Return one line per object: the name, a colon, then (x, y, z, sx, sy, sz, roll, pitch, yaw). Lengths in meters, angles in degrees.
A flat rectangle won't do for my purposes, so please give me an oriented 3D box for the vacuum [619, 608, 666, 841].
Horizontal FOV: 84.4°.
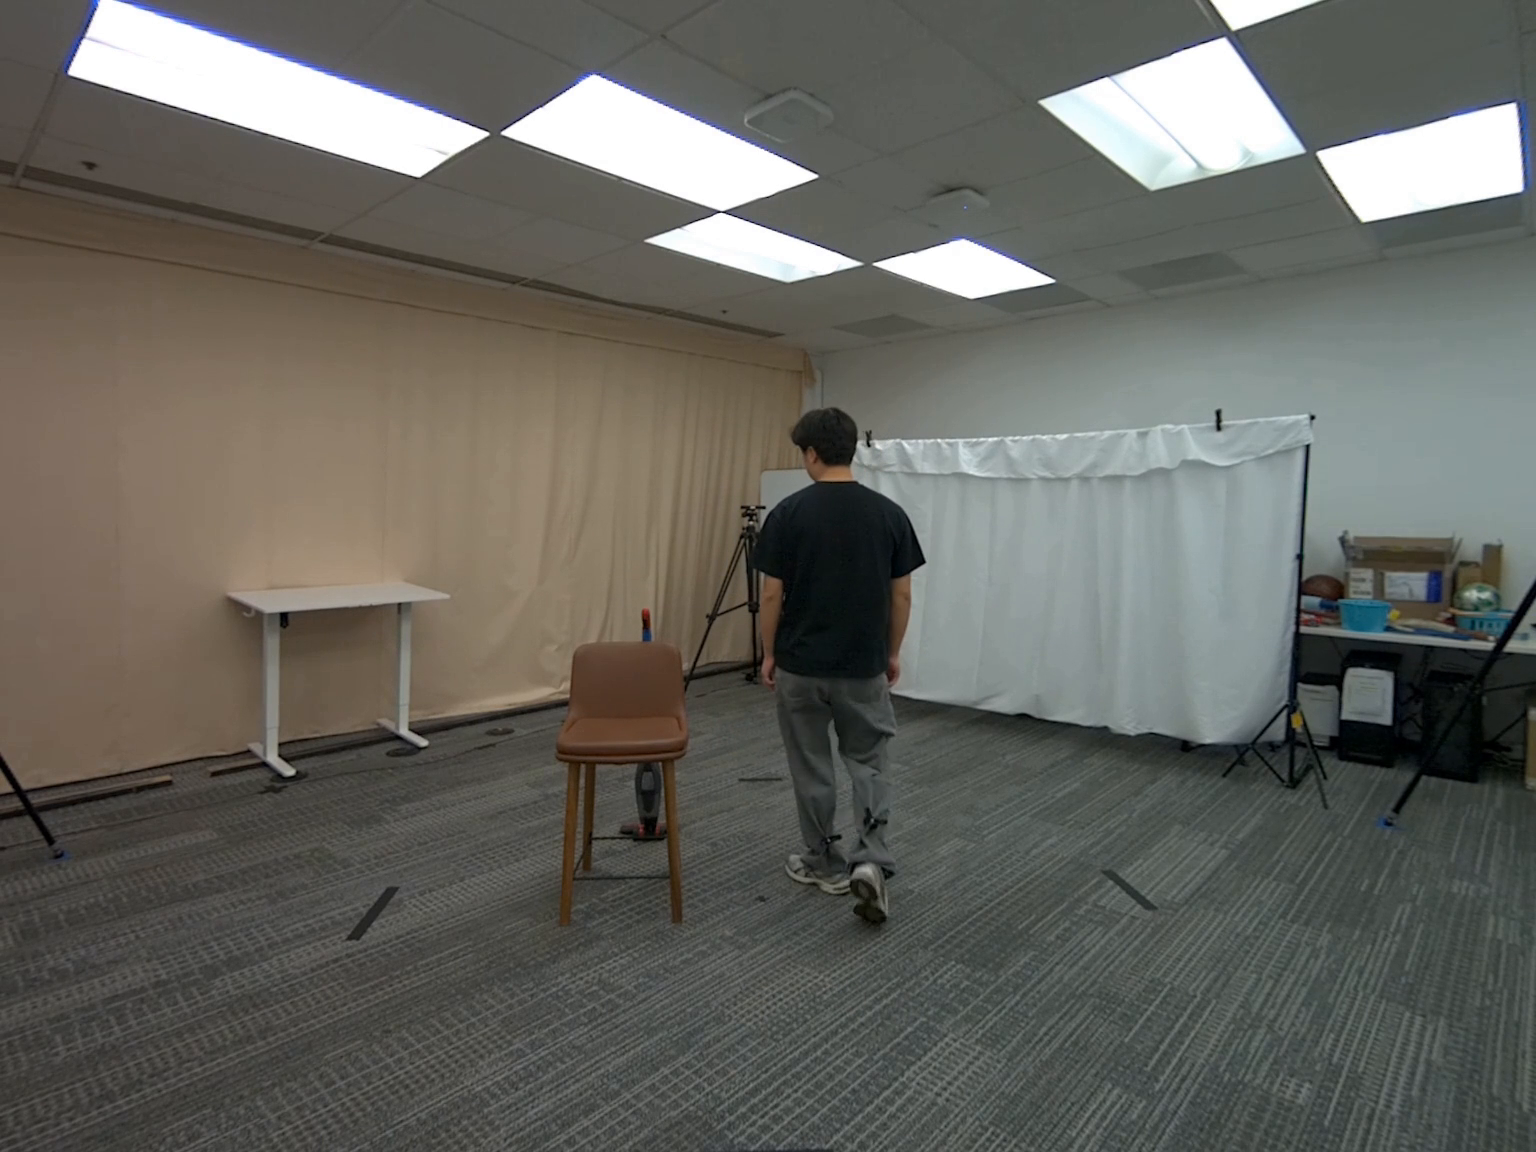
vacuum: (-0.481, 0.611, 3.391, 0.249, 1.038, 0.147, -2, 21, -14)
